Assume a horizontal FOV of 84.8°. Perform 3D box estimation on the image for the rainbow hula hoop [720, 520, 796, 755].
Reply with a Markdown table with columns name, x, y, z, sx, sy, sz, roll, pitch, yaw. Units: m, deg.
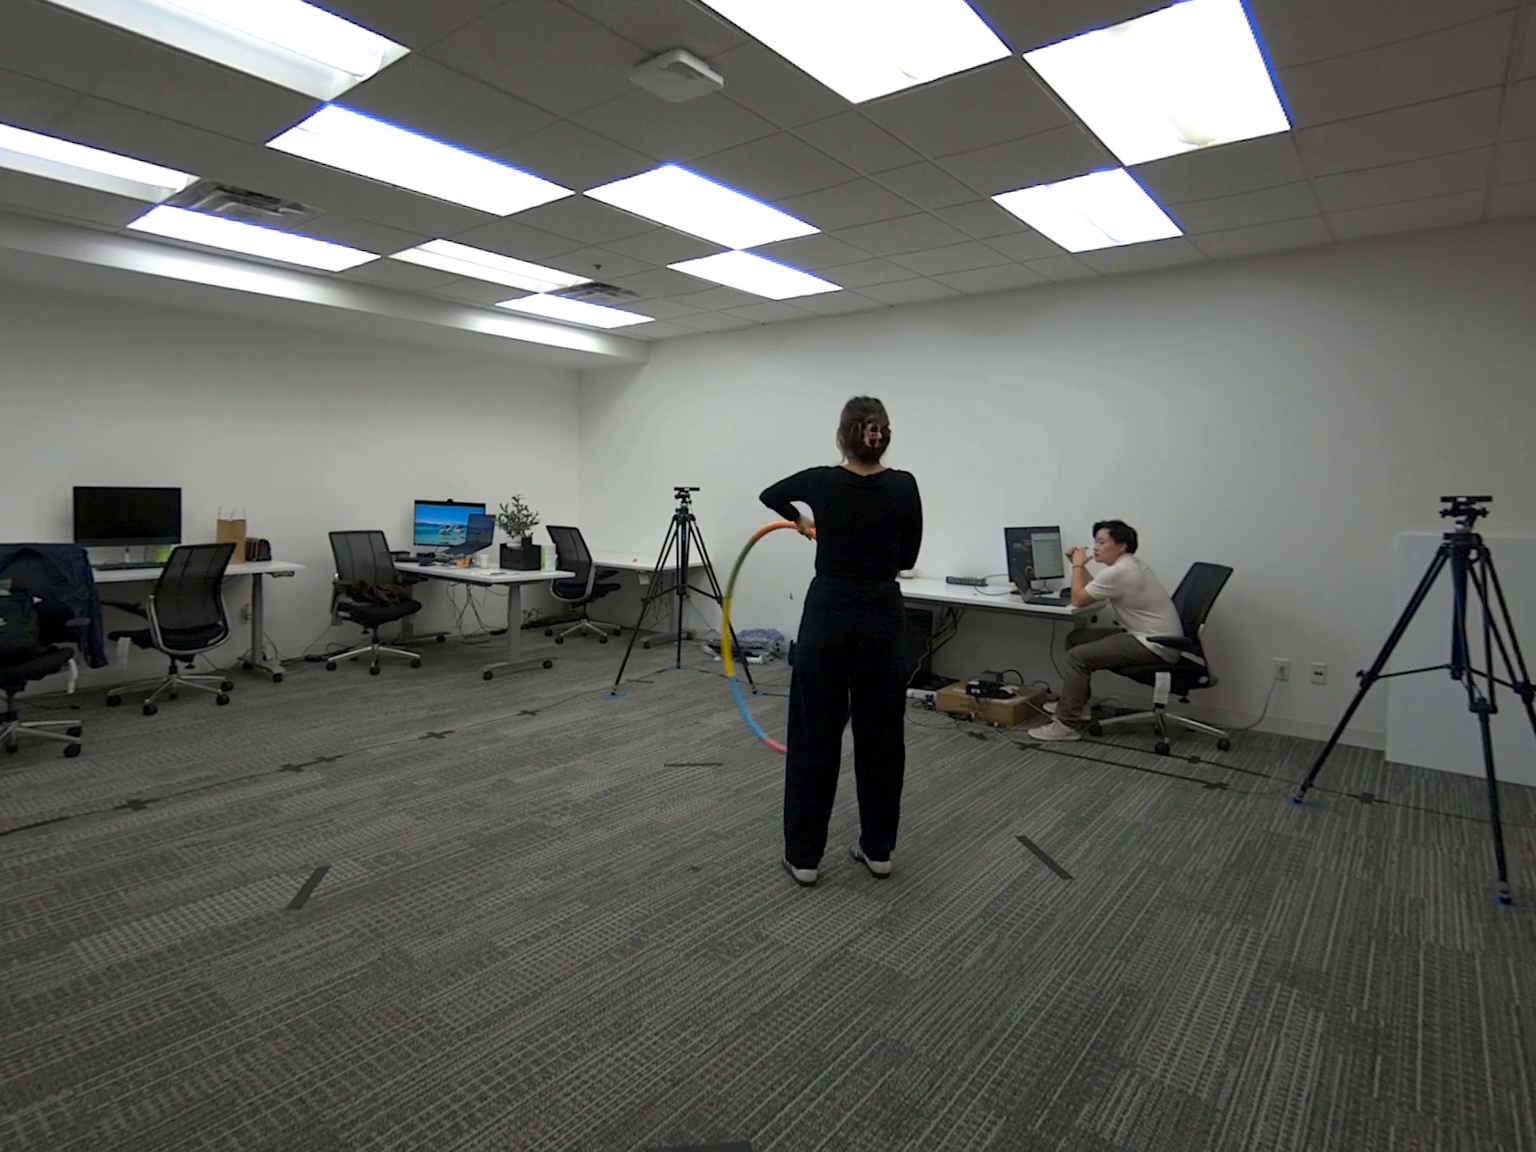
| name | x | y | z | sx | sy | sz | roll | pitch | yaw |
| --- | --- | --- | --- | --- | --- | --- | --- | --- | --- |
| rainbow hula hoop | 0.078 | 0.233 | 3.589 | 0.050 | 0.982 | 1.017 | -1 | 4 | -34 |
